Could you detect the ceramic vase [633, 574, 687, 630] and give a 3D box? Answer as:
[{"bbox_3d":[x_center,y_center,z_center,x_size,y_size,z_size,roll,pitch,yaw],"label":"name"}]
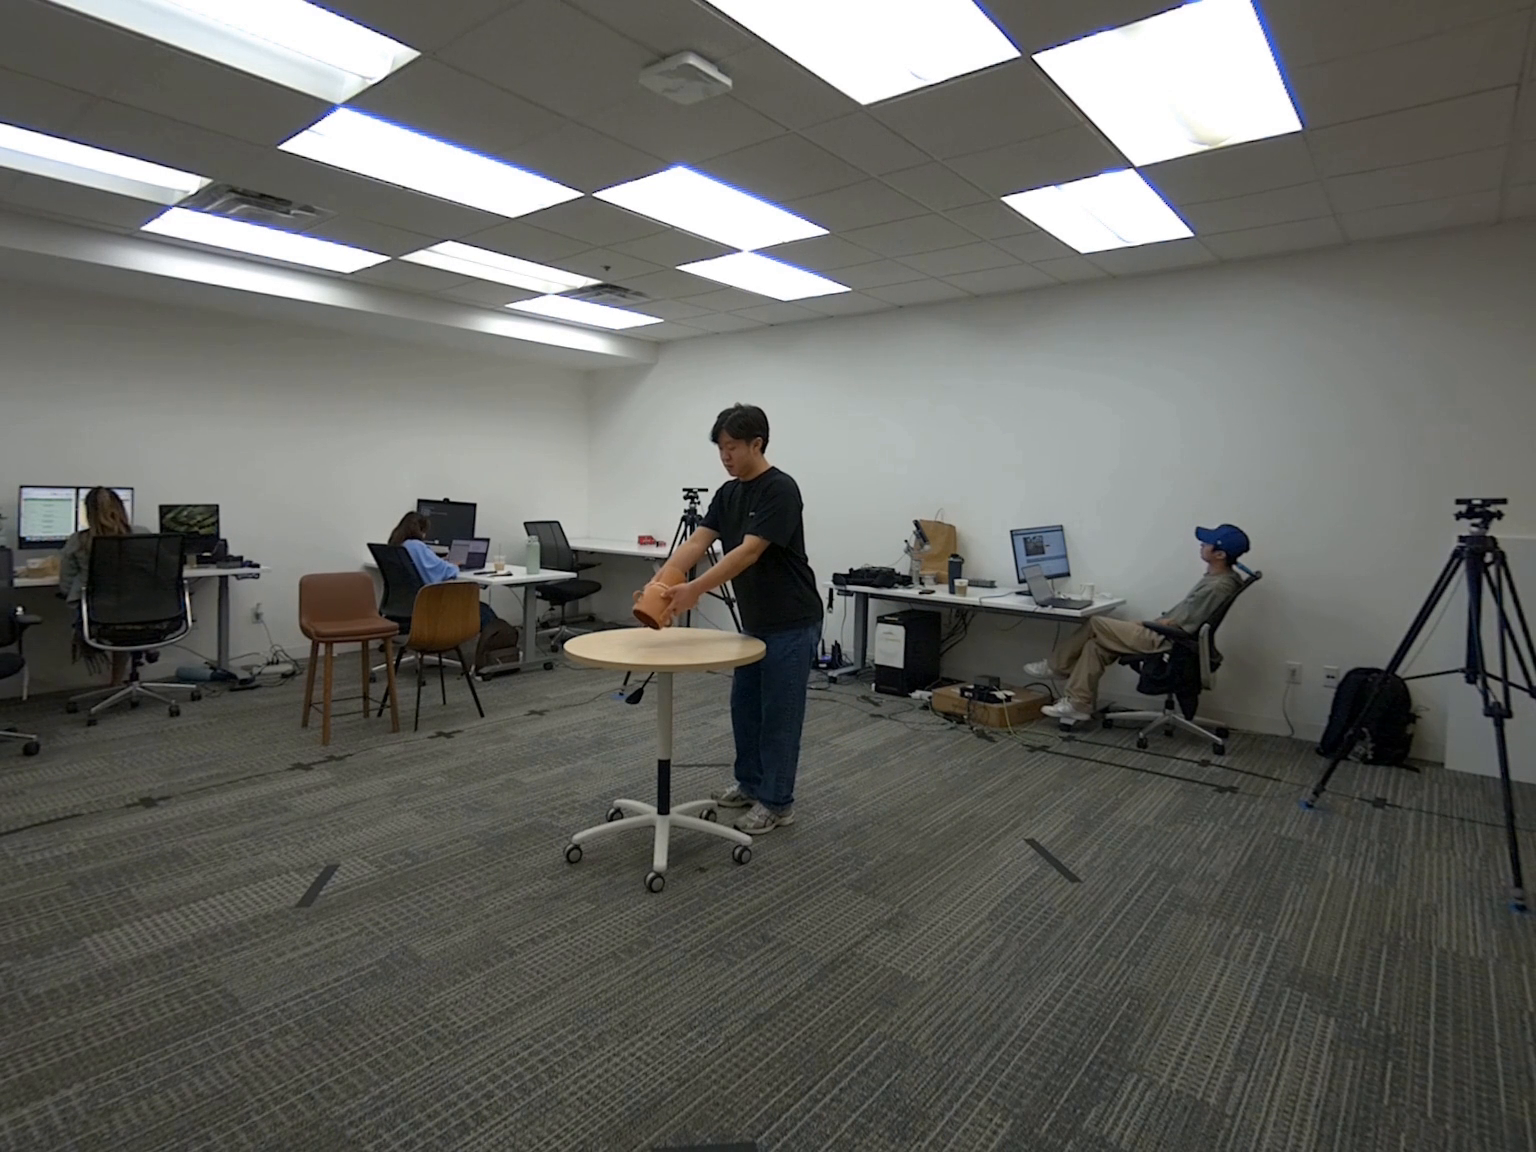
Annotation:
[{"bbox_3d":[-0.417,0.079,3.216,0.139,0.221,0.153,19,-27,26],"label":"ceramic vase"}]
